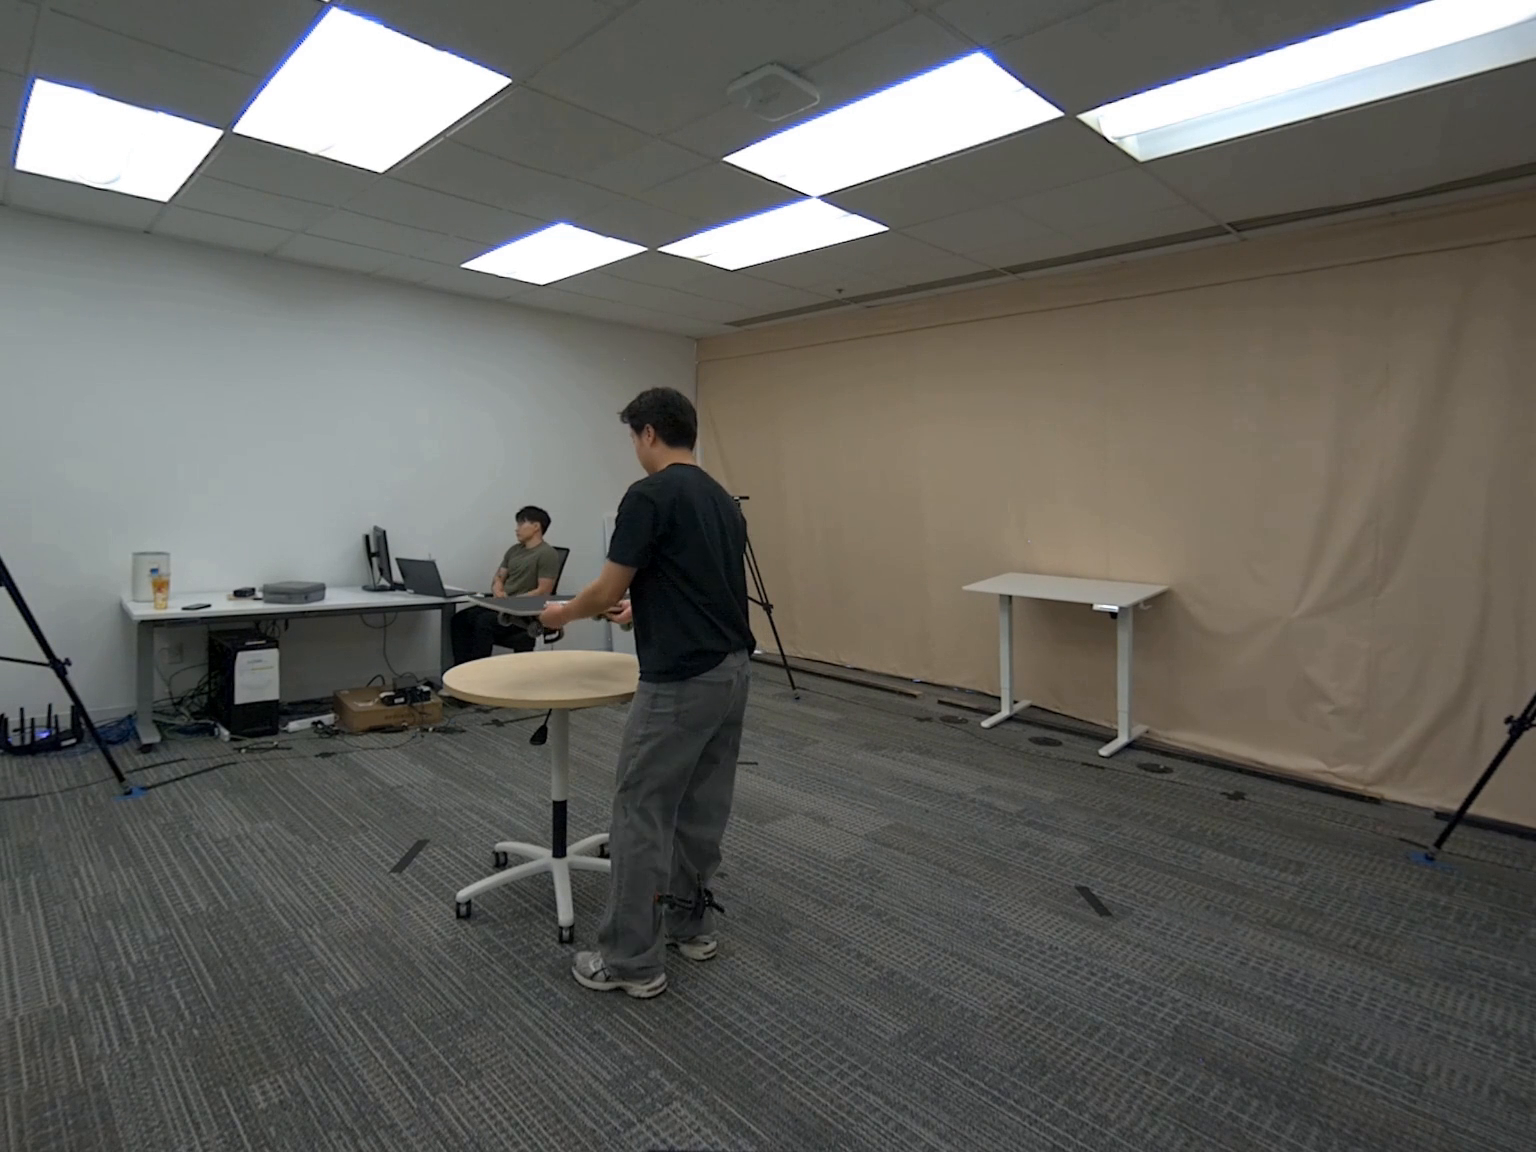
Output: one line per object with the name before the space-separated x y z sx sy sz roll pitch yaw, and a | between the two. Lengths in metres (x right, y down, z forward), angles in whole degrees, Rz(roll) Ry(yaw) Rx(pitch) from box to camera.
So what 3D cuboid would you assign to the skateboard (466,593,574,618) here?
skateboard | -0.666 0.127 2.806 0.199 0.110 0.767 14 8 37
